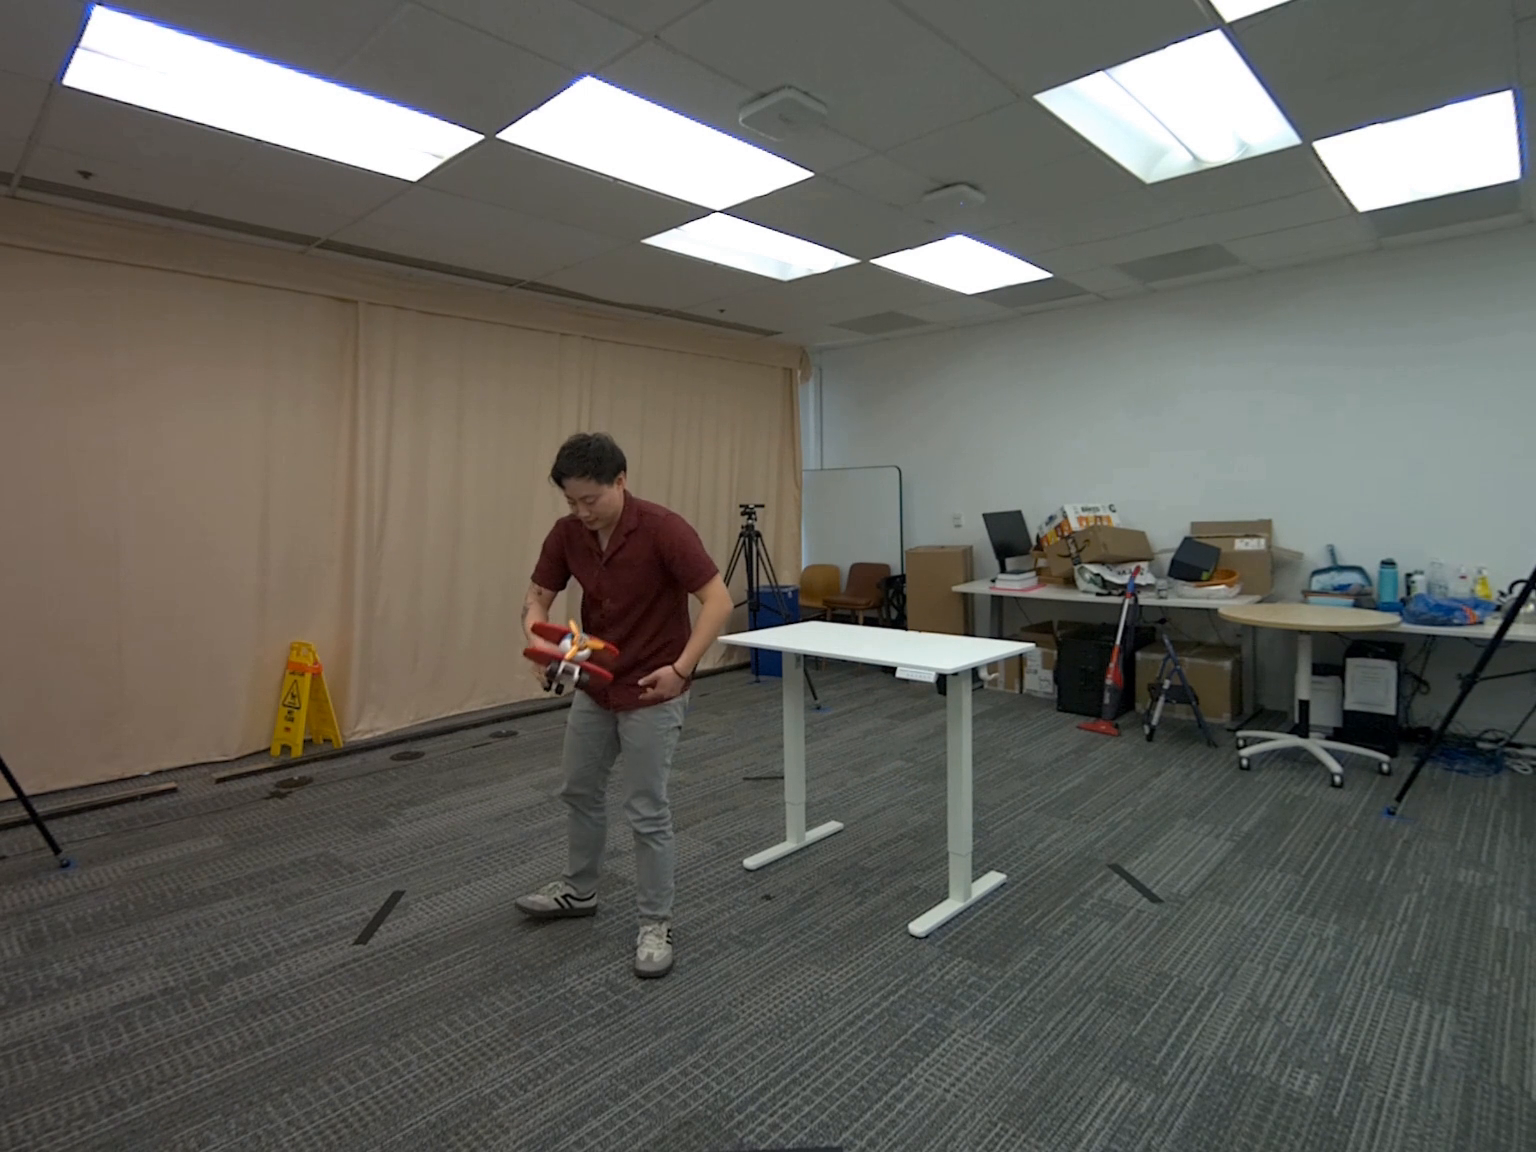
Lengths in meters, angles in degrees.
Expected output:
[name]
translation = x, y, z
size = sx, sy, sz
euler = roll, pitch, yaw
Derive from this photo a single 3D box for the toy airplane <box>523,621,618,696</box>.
[toy airplane]
translation = -0.569, 0.249, 2.361
size = 0.267, 0.157, 0.242
euler = -4, -30, 41
